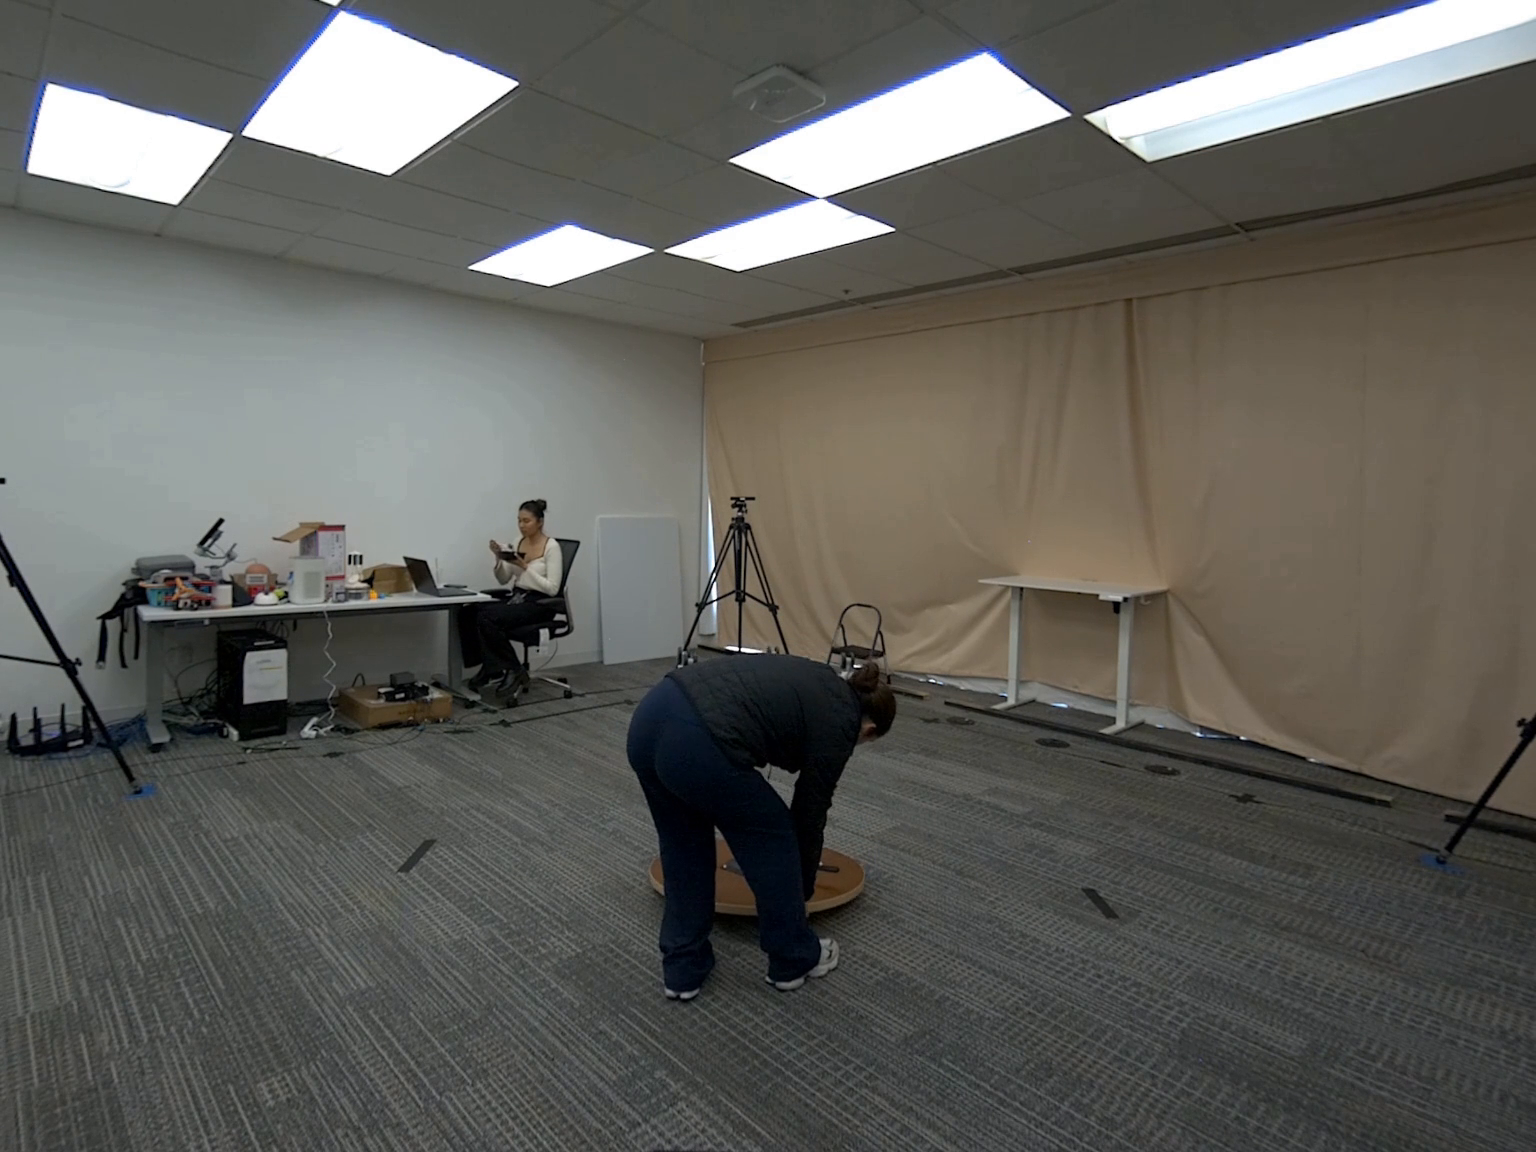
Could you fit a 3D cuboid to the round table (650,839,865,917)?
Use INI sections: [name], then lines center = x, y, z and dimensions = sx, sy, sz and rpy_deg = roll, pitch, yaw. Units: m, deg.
[round table]
center = -0.034, 0.674, 3.030
dimensions = 0.784, 0.788, 0.784
rpy_deg = -1, -3, -1
